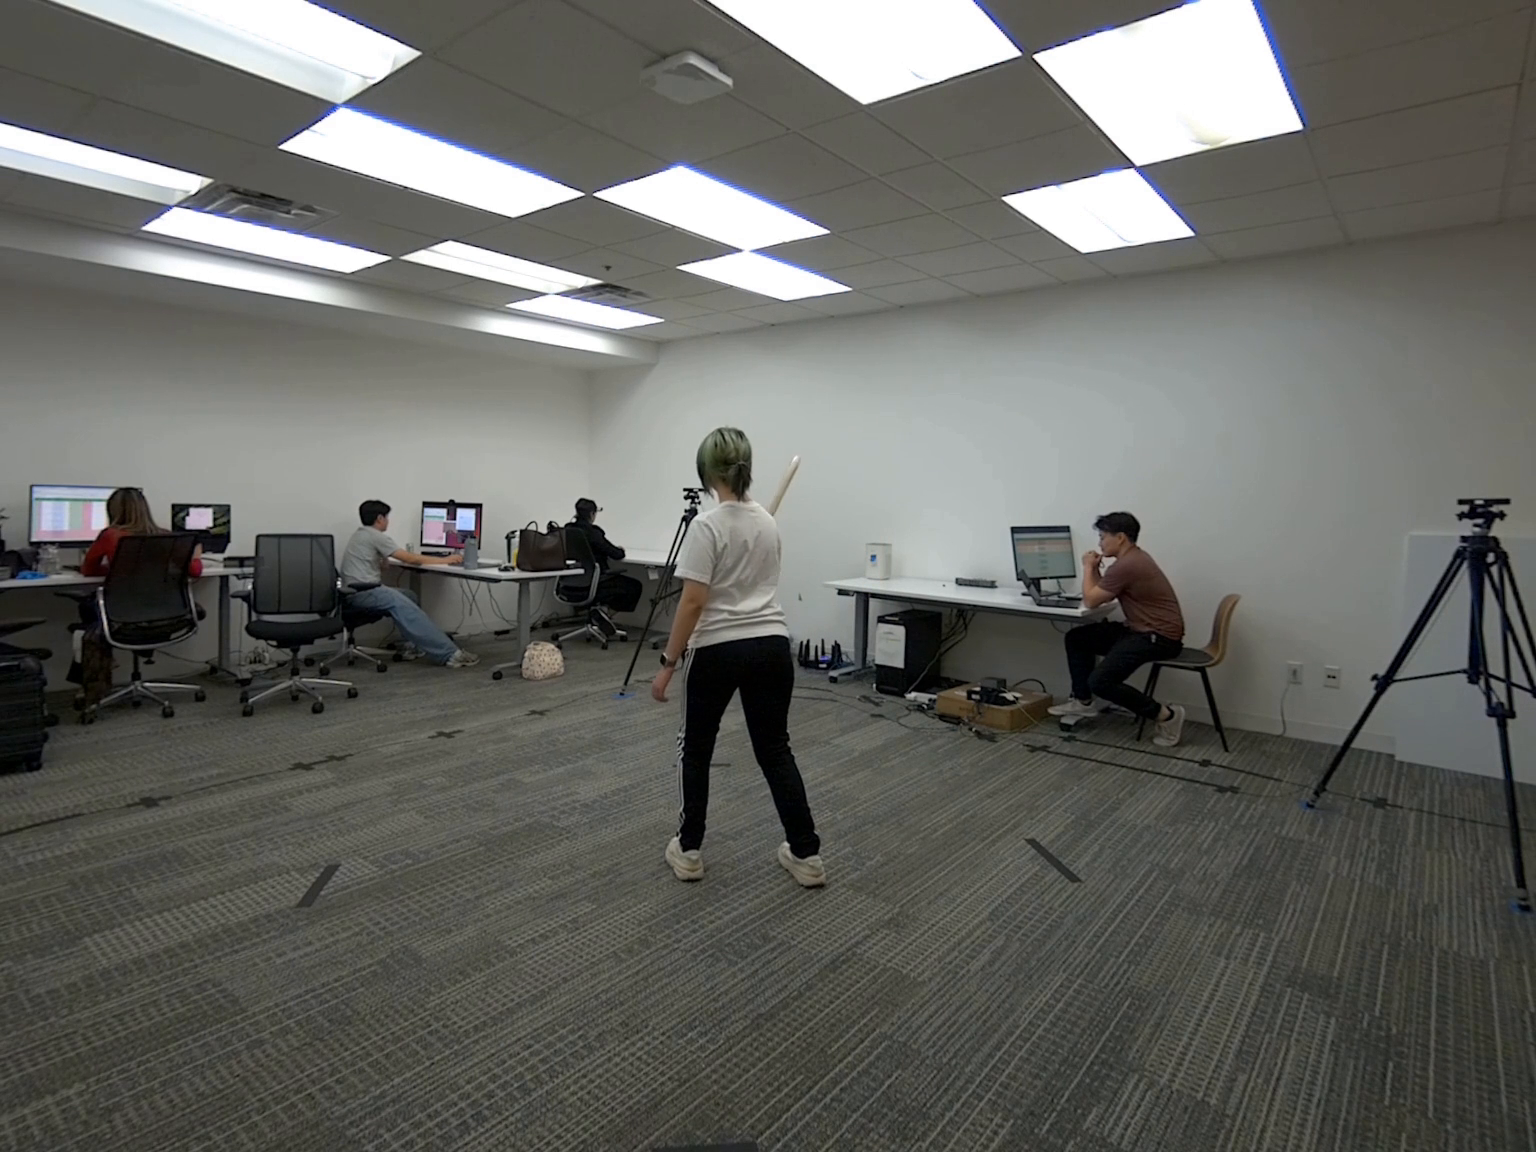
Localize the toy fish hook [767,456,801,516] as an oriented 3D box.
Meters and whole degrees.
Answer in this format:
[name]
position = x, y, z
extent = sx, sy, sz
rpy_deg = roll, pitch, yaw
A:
[toy fish hook]
position = 0.014, -0.277, 3.681
extent = 0.049, 0.509, 0.220
rpy_deg = 23, -14, 7
